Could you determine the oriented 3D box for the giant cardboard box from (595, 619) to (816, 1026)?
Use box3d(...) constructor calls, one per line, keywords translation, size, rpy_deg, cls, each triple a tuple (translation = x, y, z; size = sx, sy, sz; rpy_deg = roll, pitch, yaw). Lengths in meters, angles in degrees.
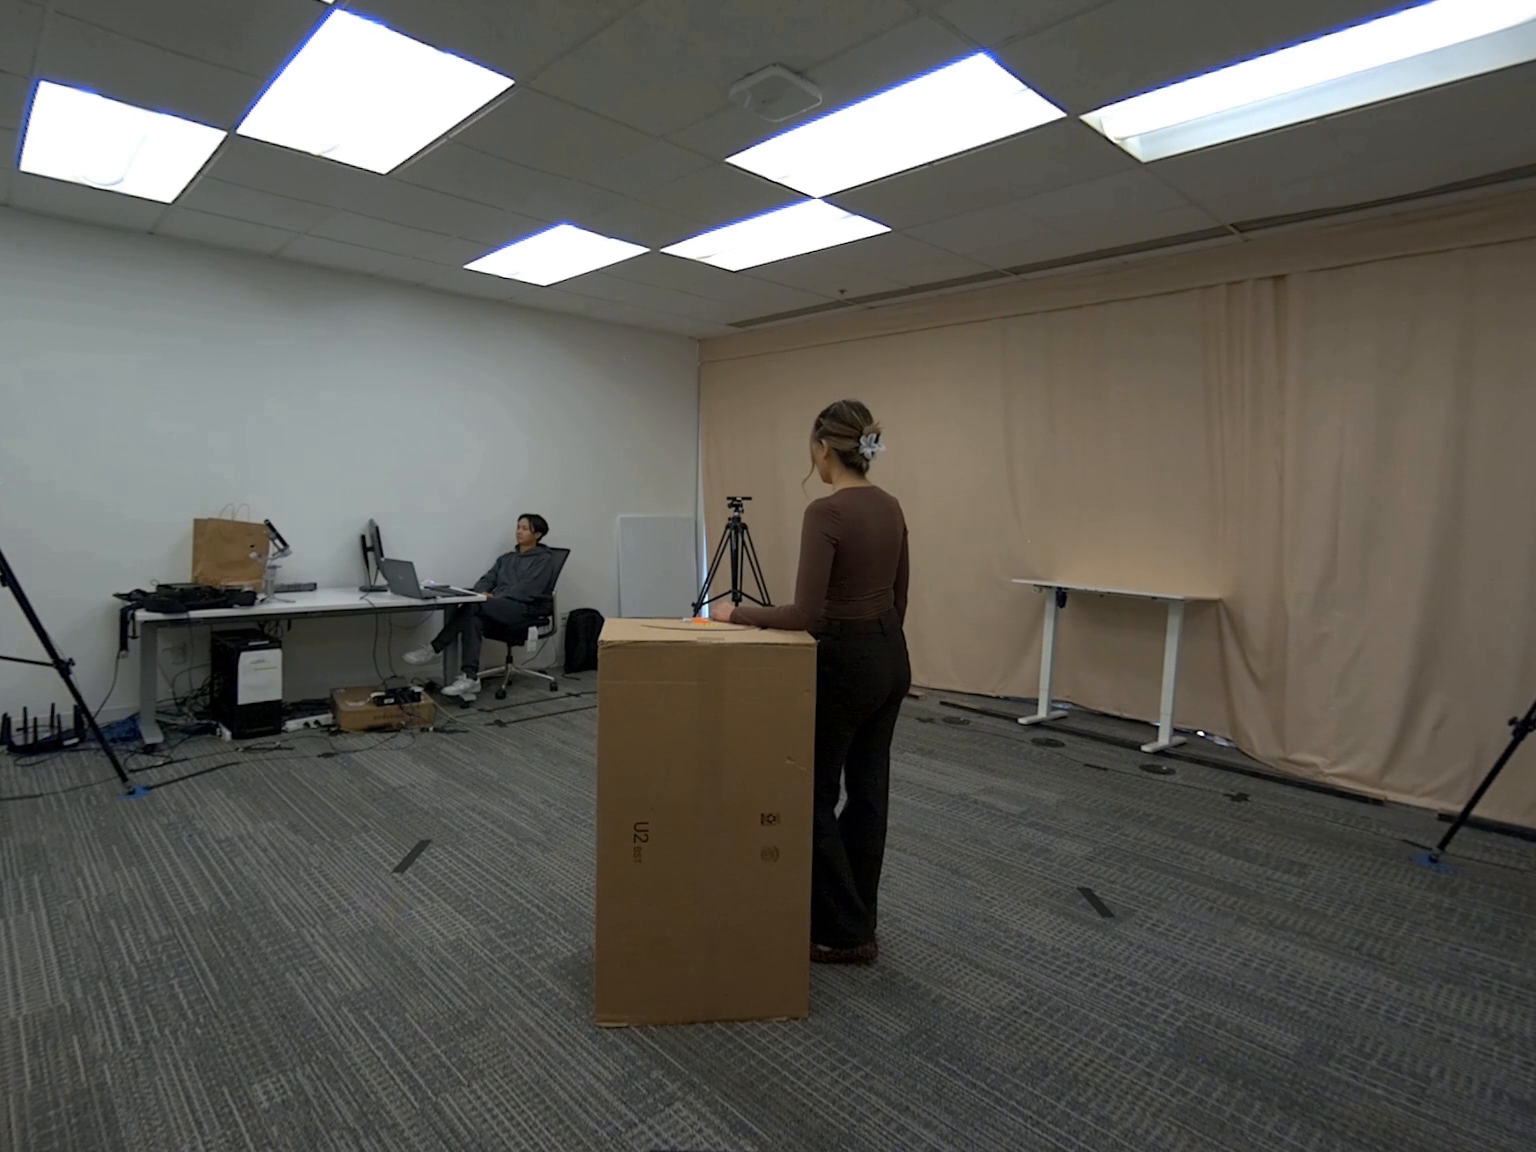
box3d(translation=(-0.203, 0.660, 2.410), size=(0.581, 1.024, 0.450), rpy_deg=(1, 3, -7), cls="giant cardboard box")
